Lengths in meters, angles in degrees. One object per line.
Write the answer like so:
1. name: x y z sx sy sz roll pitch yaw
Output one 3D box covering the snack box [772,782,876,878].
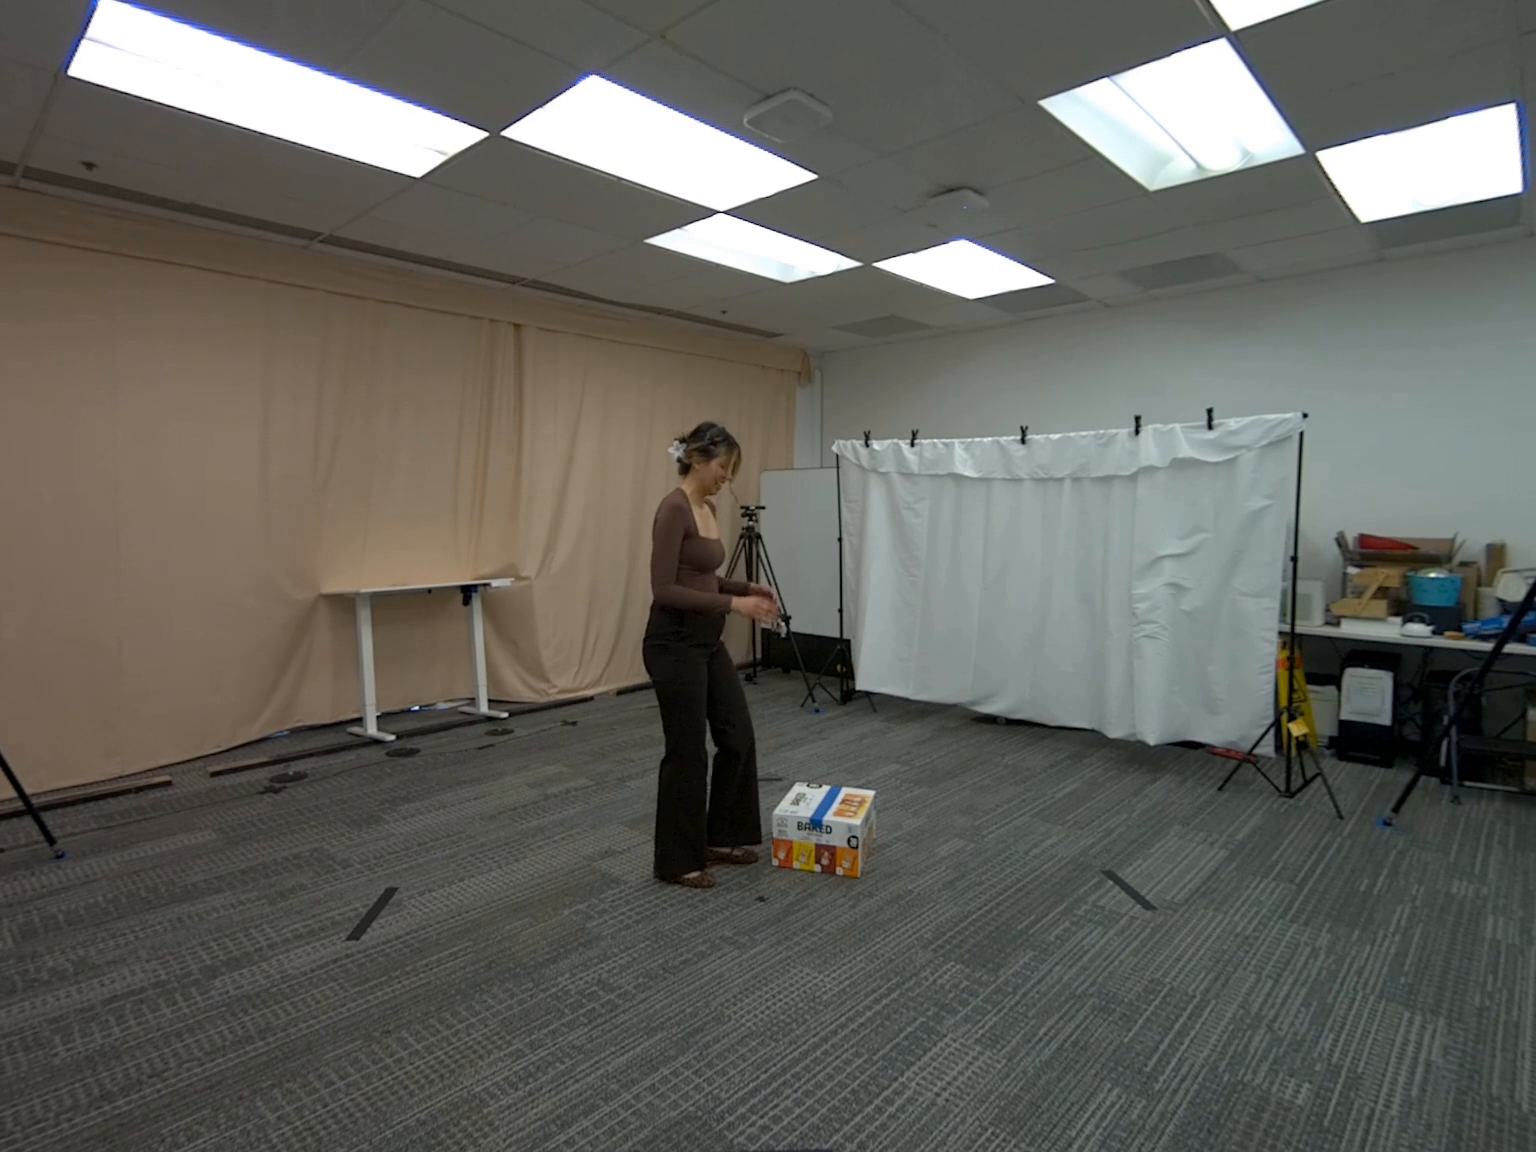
1. snack box: 0.236 1.007 3.383 0.347 0.205 0.398 2 5 18
